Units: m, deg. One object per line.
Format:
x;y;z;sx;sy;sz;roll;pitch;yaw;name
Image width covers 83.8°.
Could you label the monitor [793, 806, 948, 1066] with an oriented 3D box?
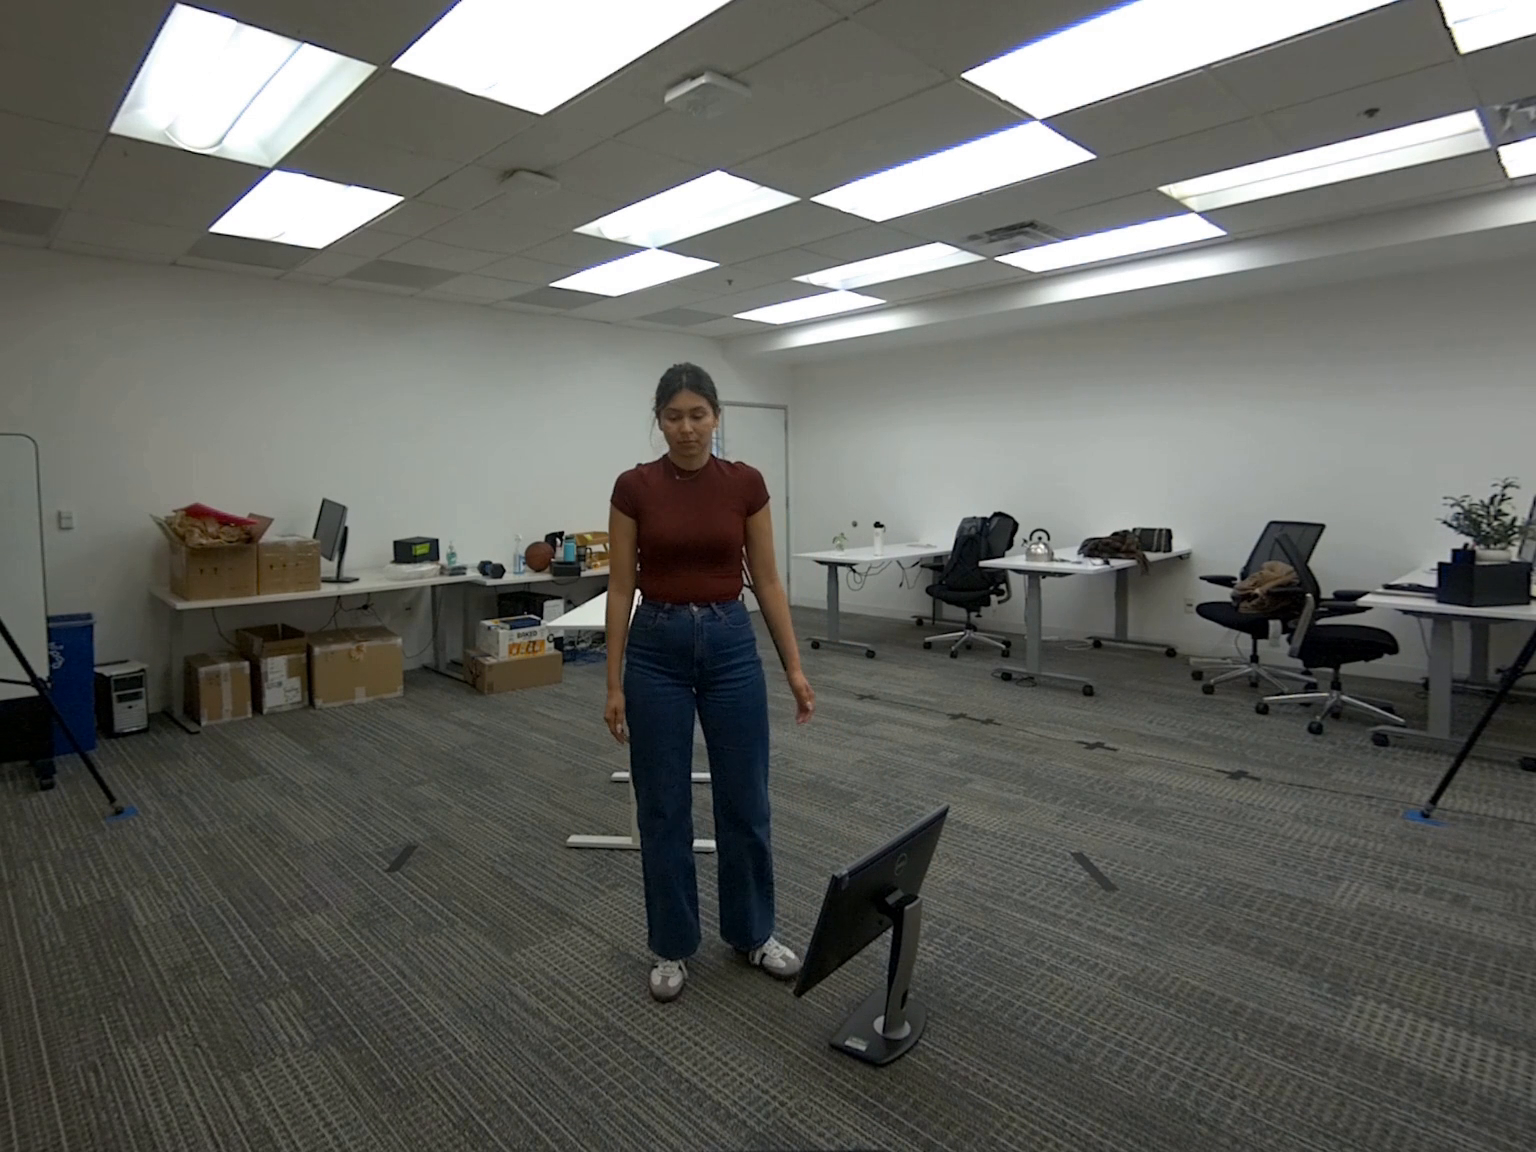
0.297;0.891;2.143;0.193;0.519;0.526;6;9;36;monitor
